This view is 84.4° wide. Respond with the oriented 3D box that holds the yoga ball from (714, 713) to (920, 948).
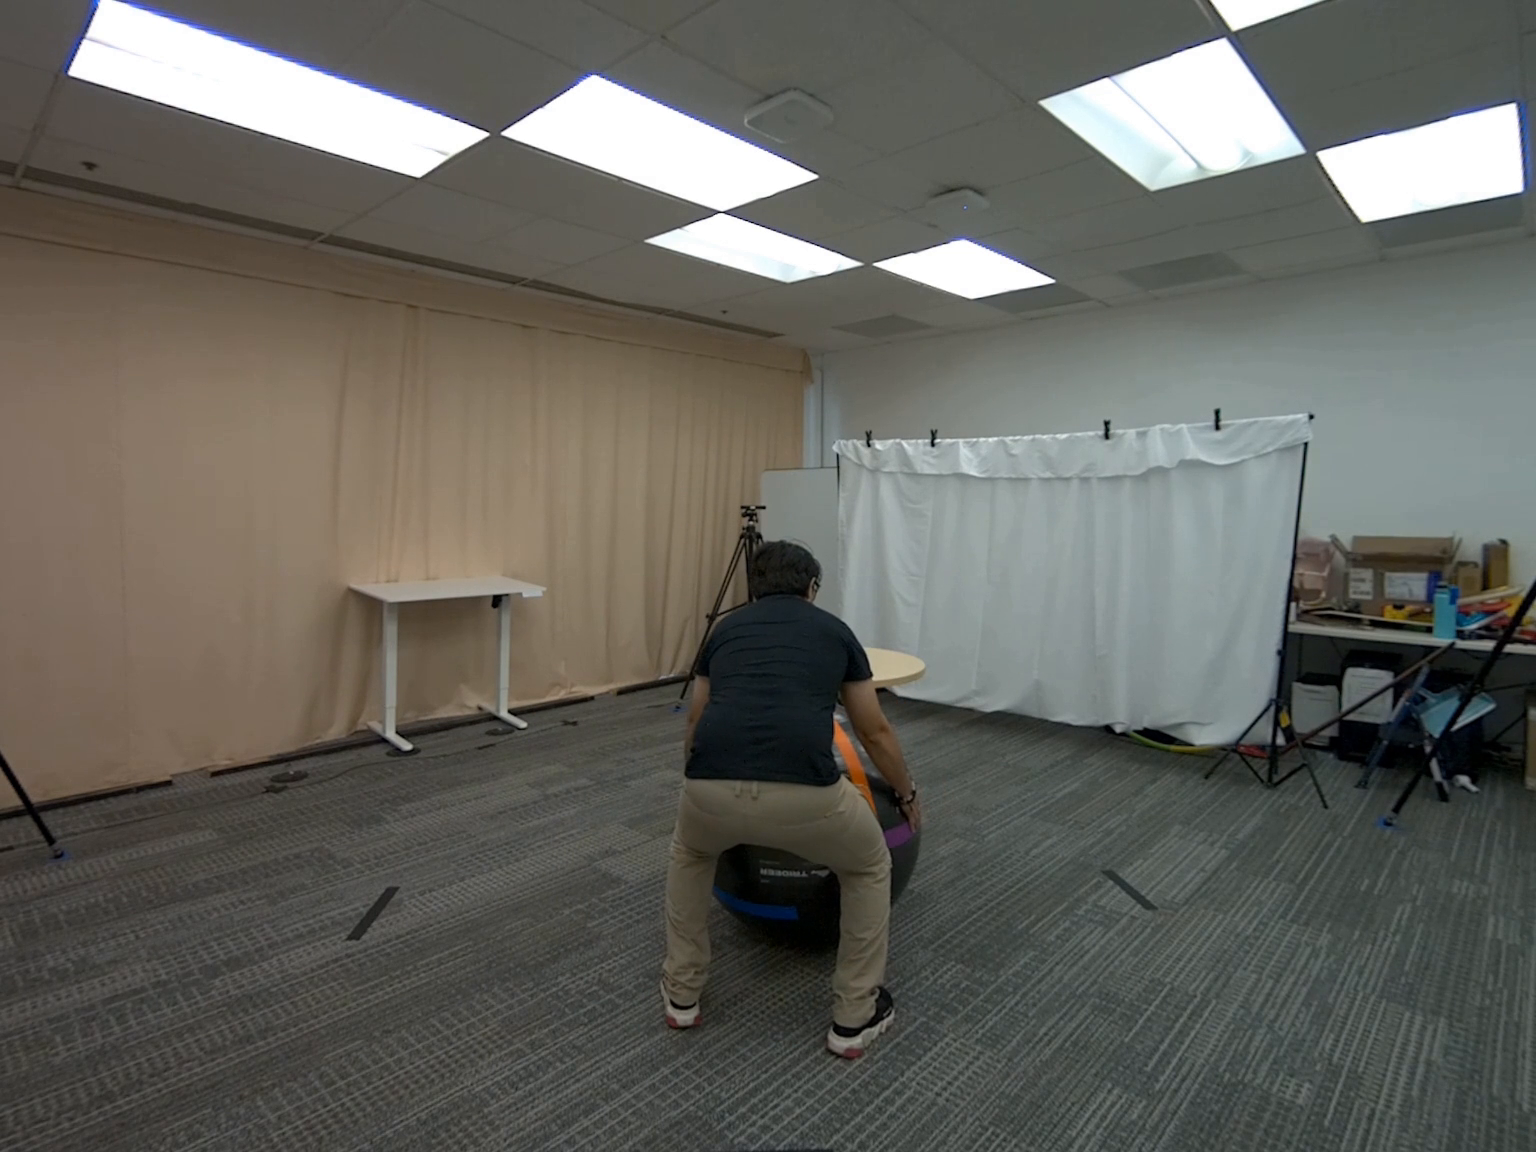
[{"bbox_3d":[0.121,0.800,2.757,0.757,0.756,0.760,0,4,-2],"label":"yoga ball"}]
